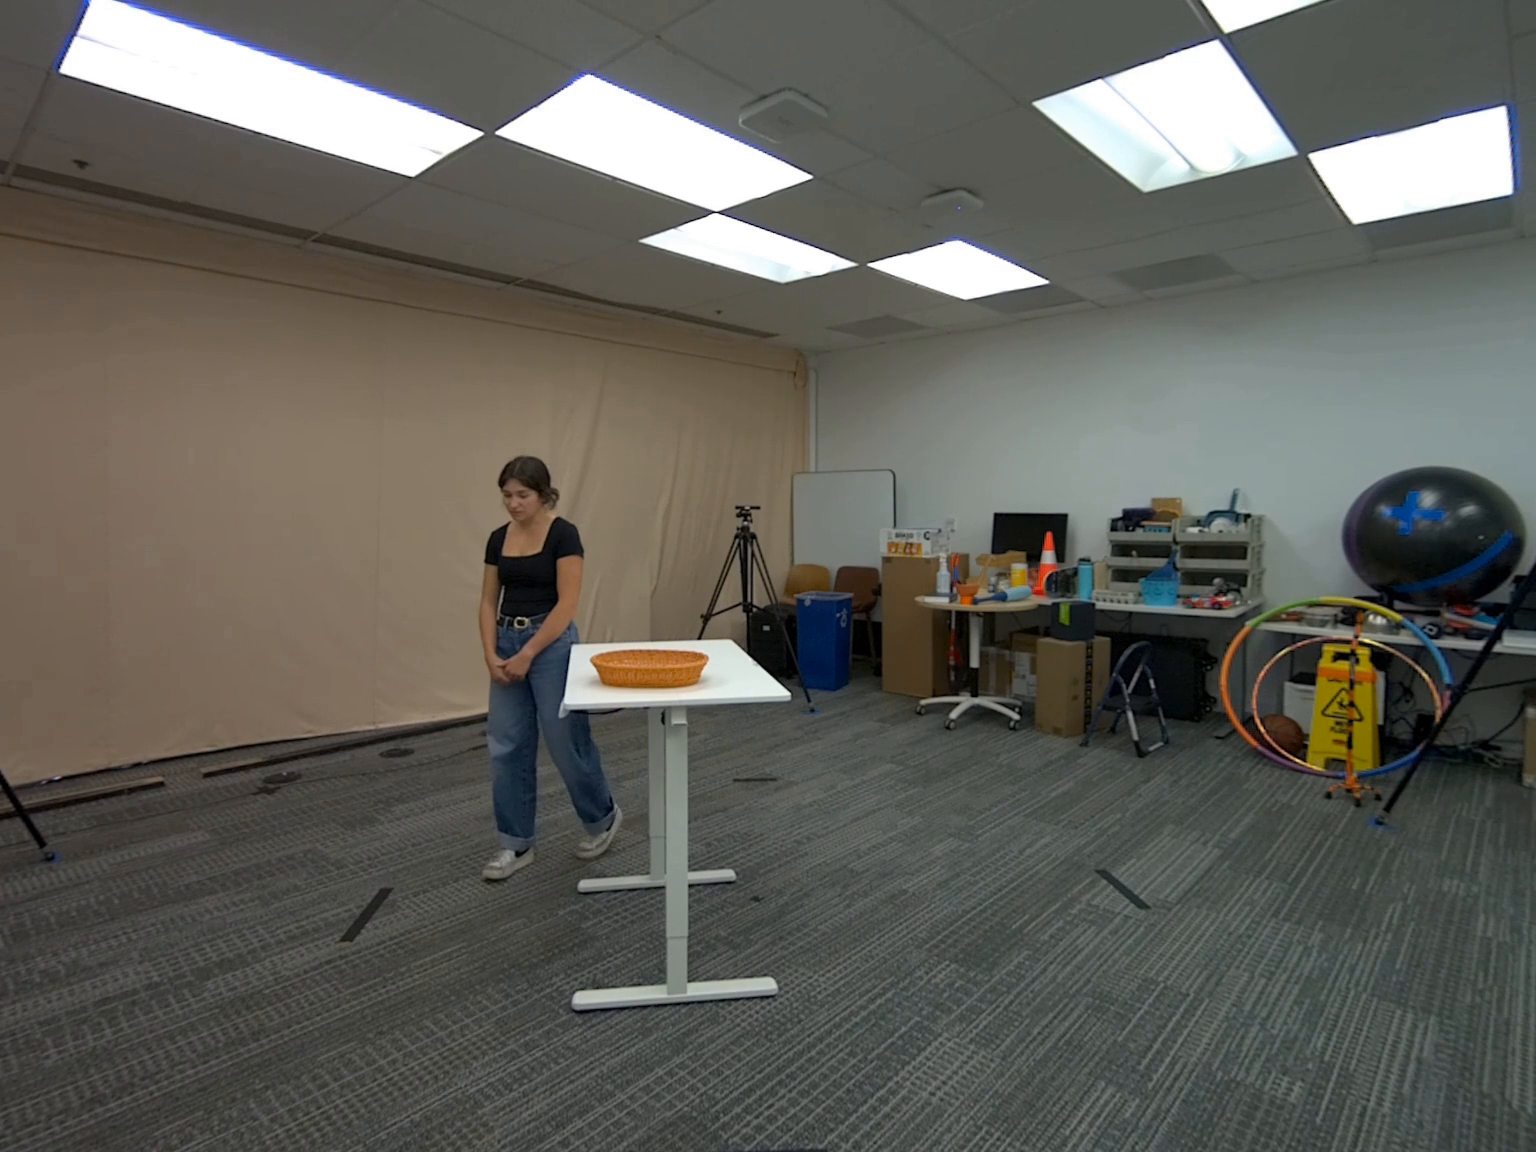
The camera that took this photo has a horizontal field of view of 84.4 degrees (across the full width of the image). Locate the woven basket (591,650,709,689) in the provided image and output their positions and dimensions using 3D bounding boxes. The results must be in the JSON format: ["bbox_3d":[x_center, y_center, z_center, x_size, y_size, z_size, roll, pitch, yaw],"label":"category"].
[{"bbox_3d":[-0.349,0.281,2.430,0.354,0.073,0.251,0,5,8],"label":"woven basket"}]
